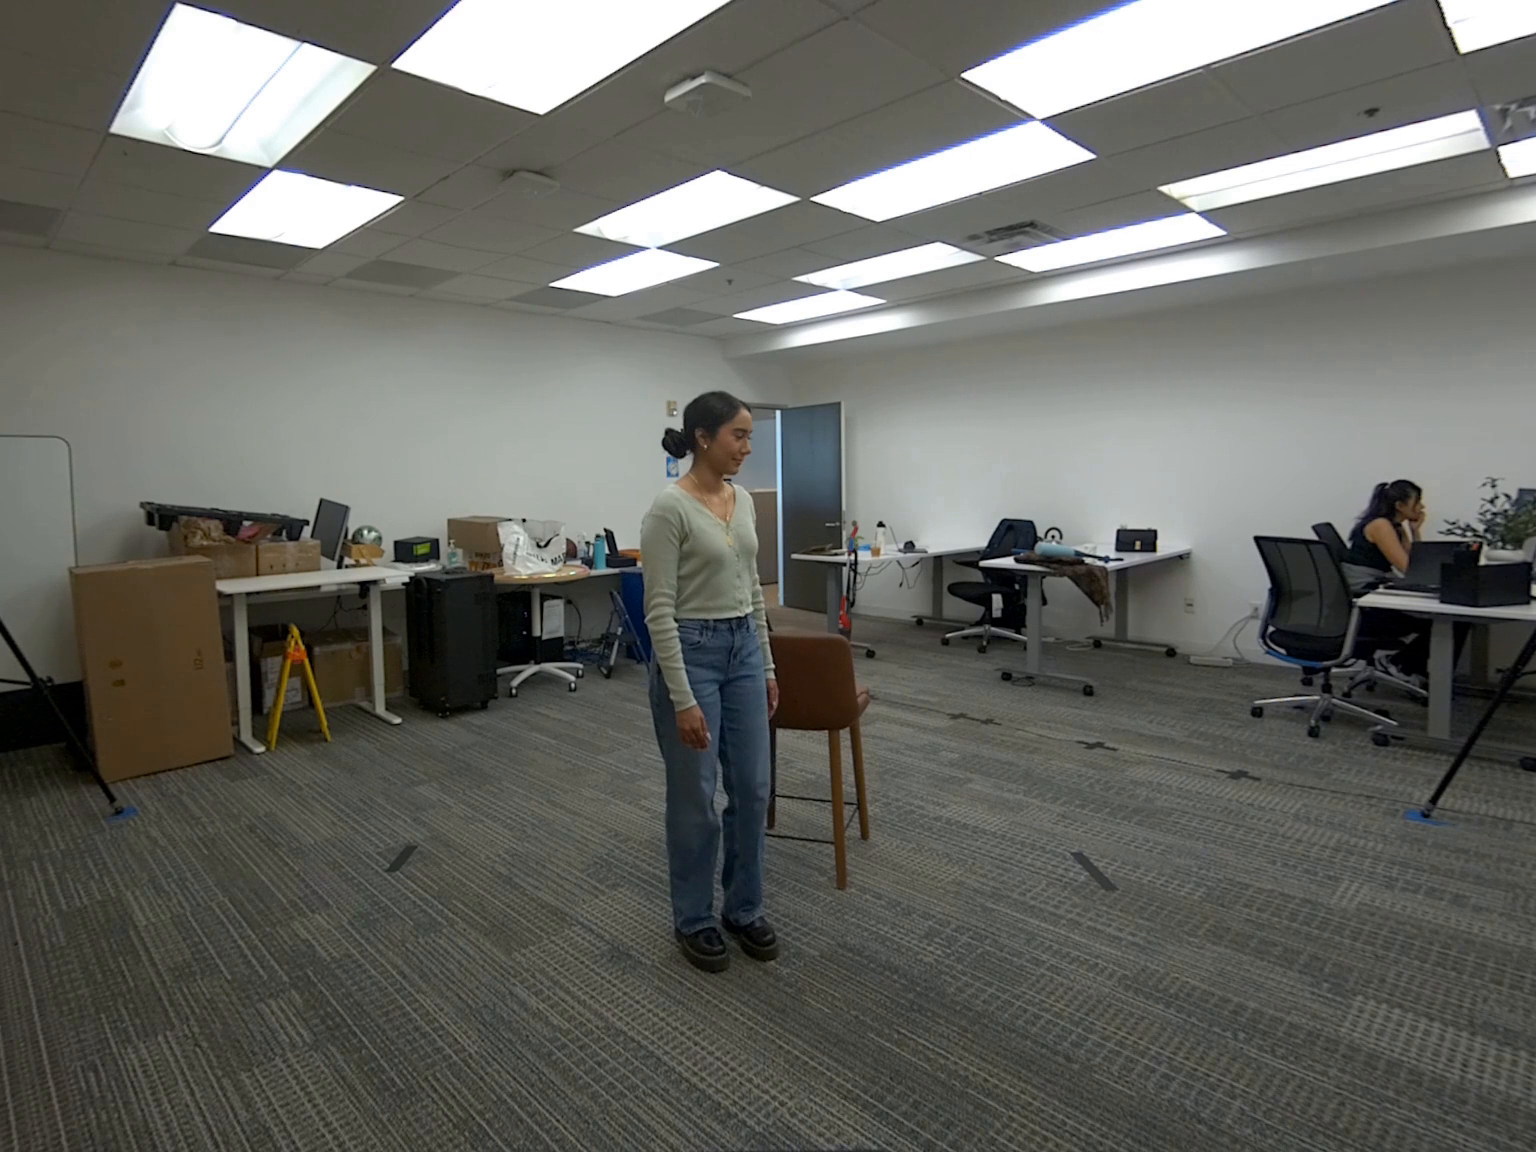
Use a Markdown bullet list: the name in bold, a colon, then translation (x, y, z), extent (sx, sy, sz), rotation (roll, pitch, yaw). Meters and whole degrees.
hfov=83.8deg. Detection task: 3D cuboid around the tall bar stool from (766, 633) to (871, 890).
- **tall bar stool**: translation (0.130, 0.599, 3.124), extent (0.464, 0.885, 0.462), rotation (0, 6, 17)
